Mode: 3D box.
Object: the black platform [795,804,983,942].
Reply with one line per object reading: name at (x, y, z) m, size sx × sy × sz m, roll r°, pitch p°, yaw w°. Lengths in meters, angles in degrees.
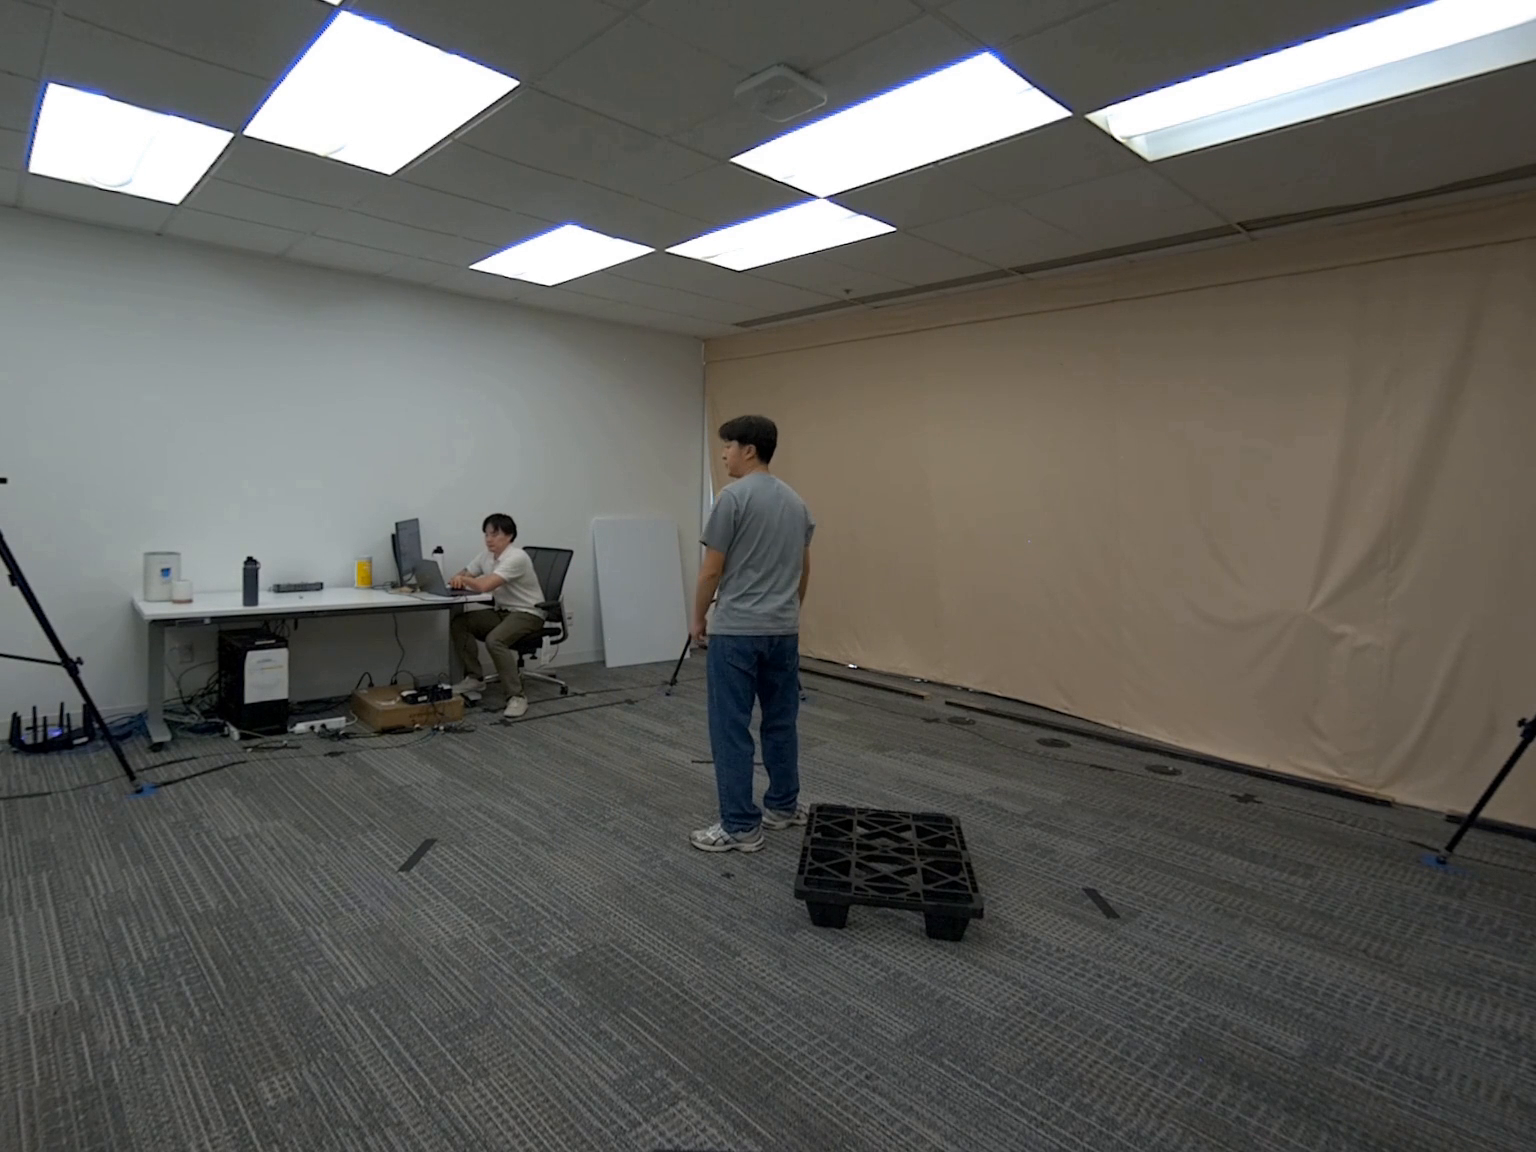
black platform at (0.412, 1.052, 3.061) m, size 0.610 × 0.143 × 0.802 m, roll 2°, pitch 5°, yaw 8°
